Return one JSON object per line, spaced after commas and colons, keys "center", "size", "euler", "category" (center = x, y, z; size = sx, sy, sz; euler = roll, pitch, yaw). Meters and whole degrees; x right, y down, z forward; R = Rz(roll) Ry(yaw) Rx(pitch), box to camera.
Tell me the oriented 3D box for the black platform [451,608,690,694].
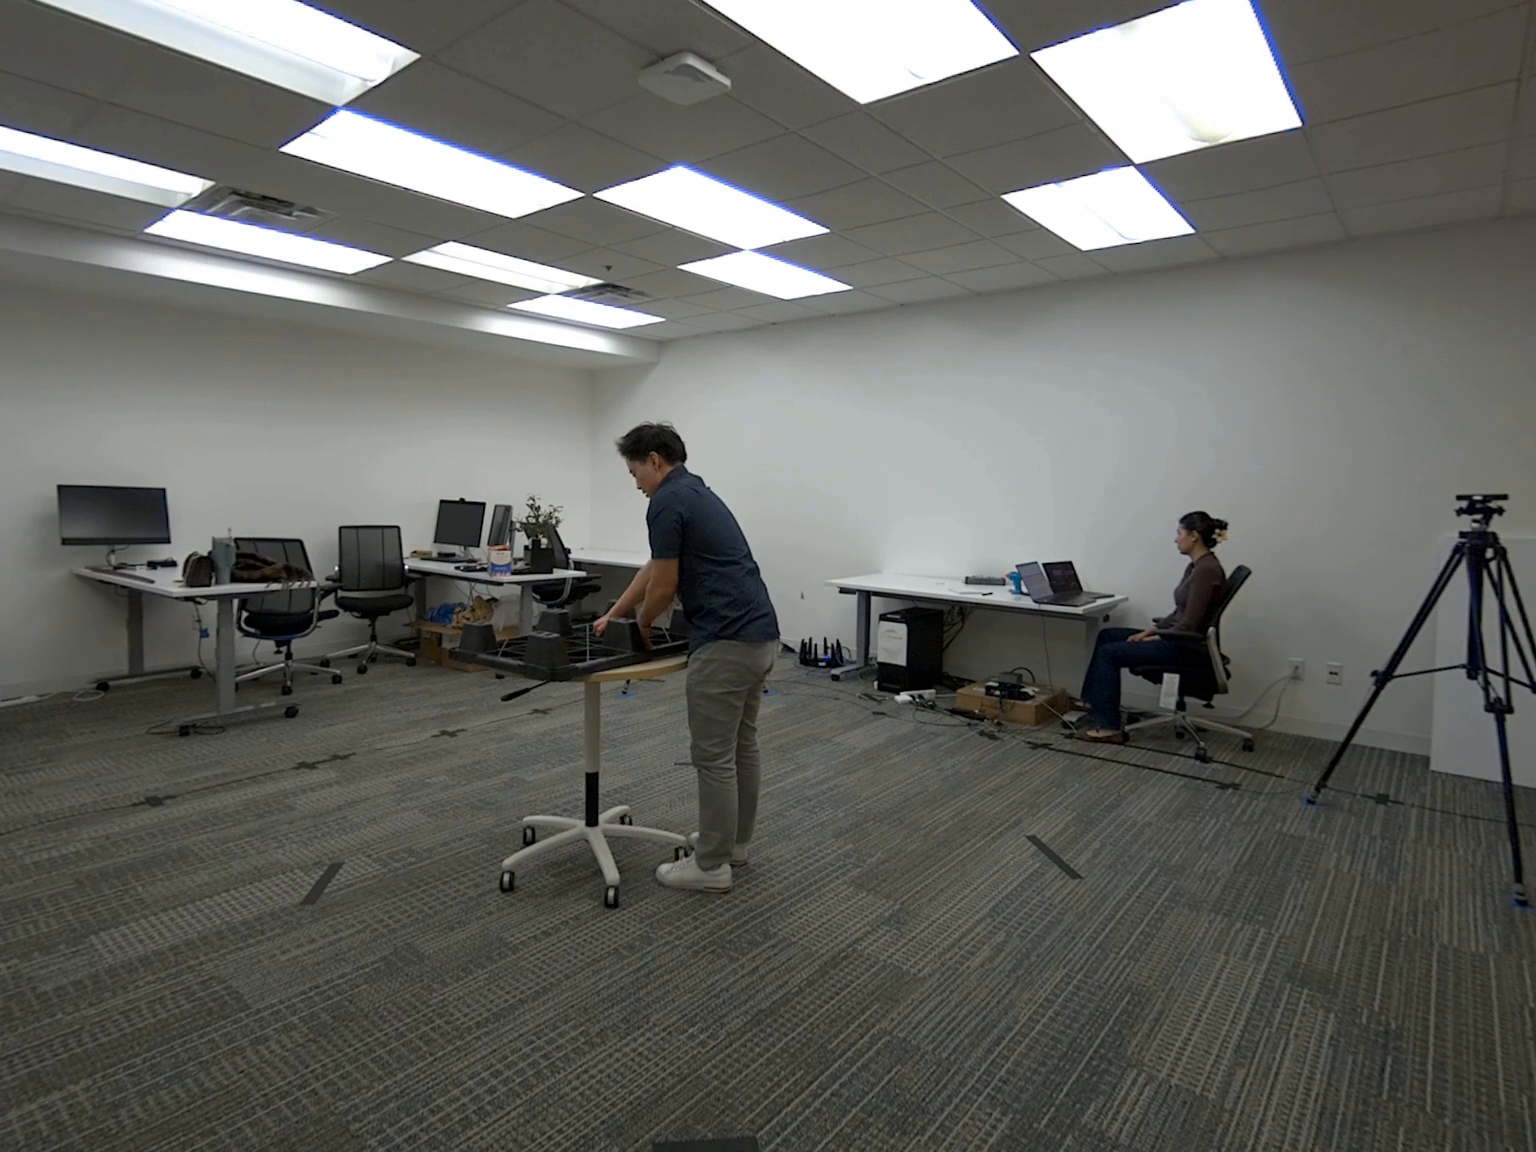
{"center": [-0.673, 0.214, 3.116], "size": [0.625, 0.142, 0.783], "euler": [5, 8, 38], "category": "black platform"}
